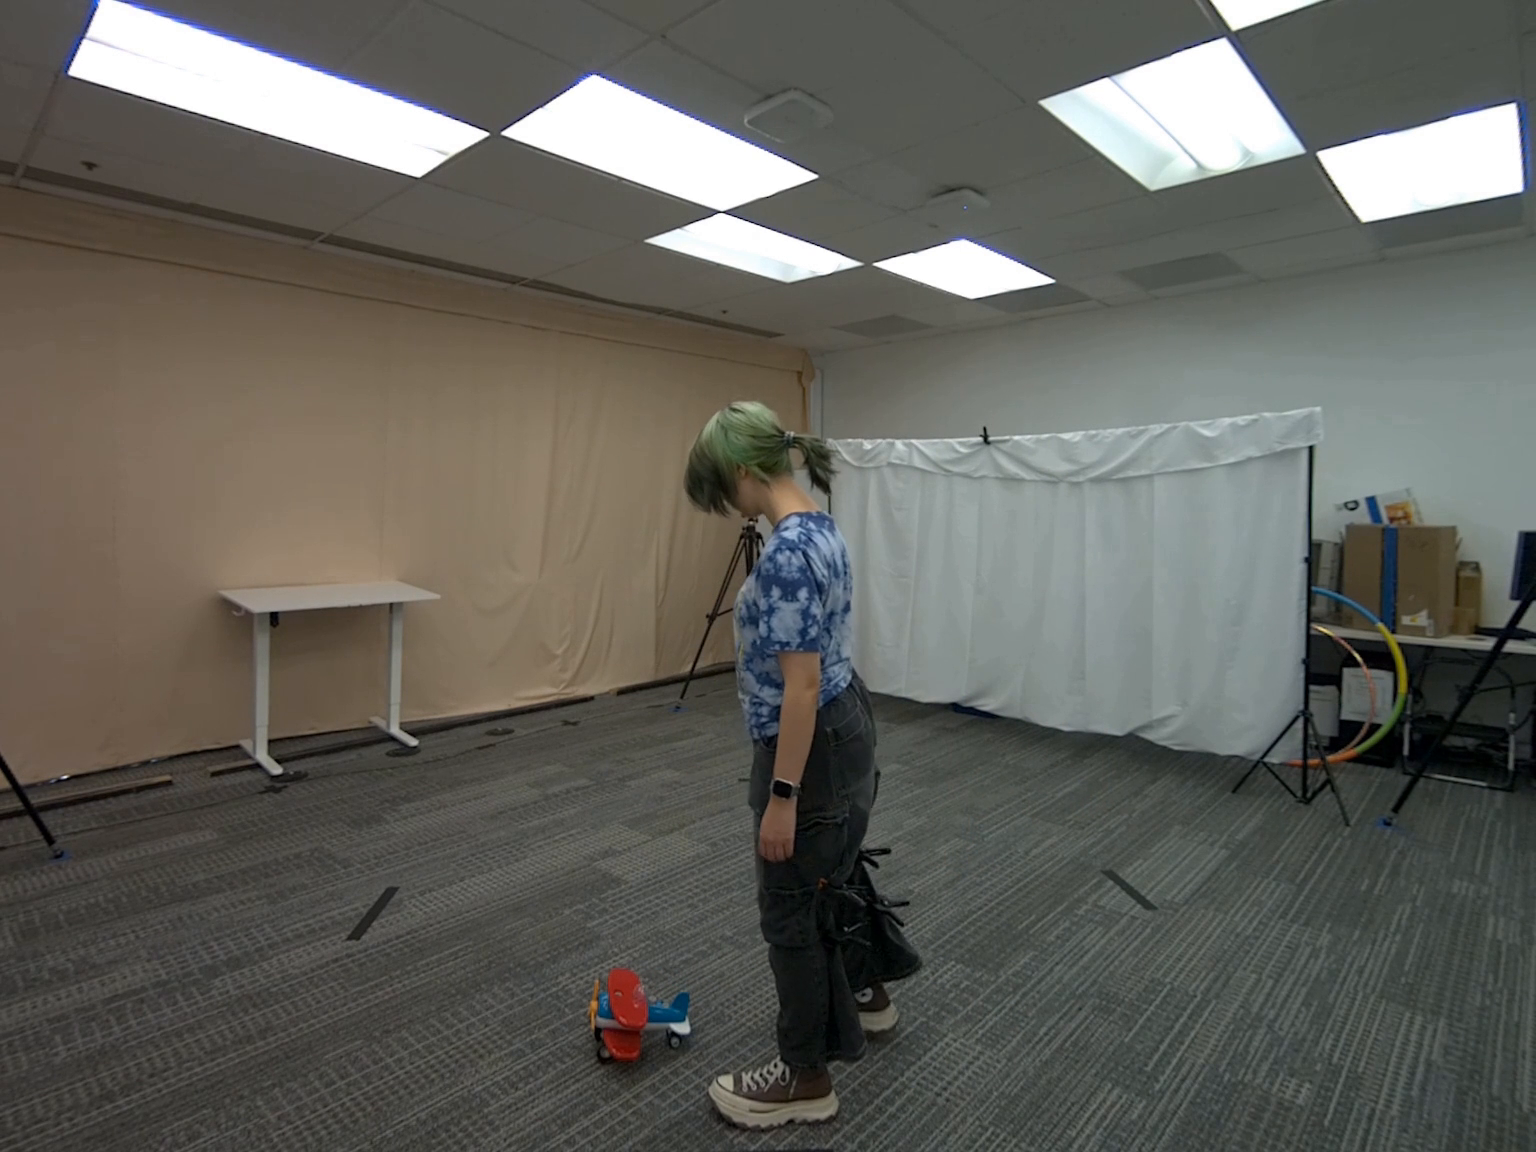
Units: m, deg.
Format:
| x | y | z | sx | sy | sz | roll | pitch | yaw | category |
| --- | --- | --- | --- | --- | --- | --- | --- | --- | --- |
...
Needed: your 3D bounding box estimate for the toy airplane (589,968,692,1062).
| x | y | z | sx | sy | sz | roll | pitch | yaw | category |
| --- | --- | --- | --- | --- | --- | --- | --- | --- | --- |
| -0.335 | 1.145 | 2.182 | 0.251 | 0.156 | 0.259 | -6 | 8 | -41 | toy airplane |
